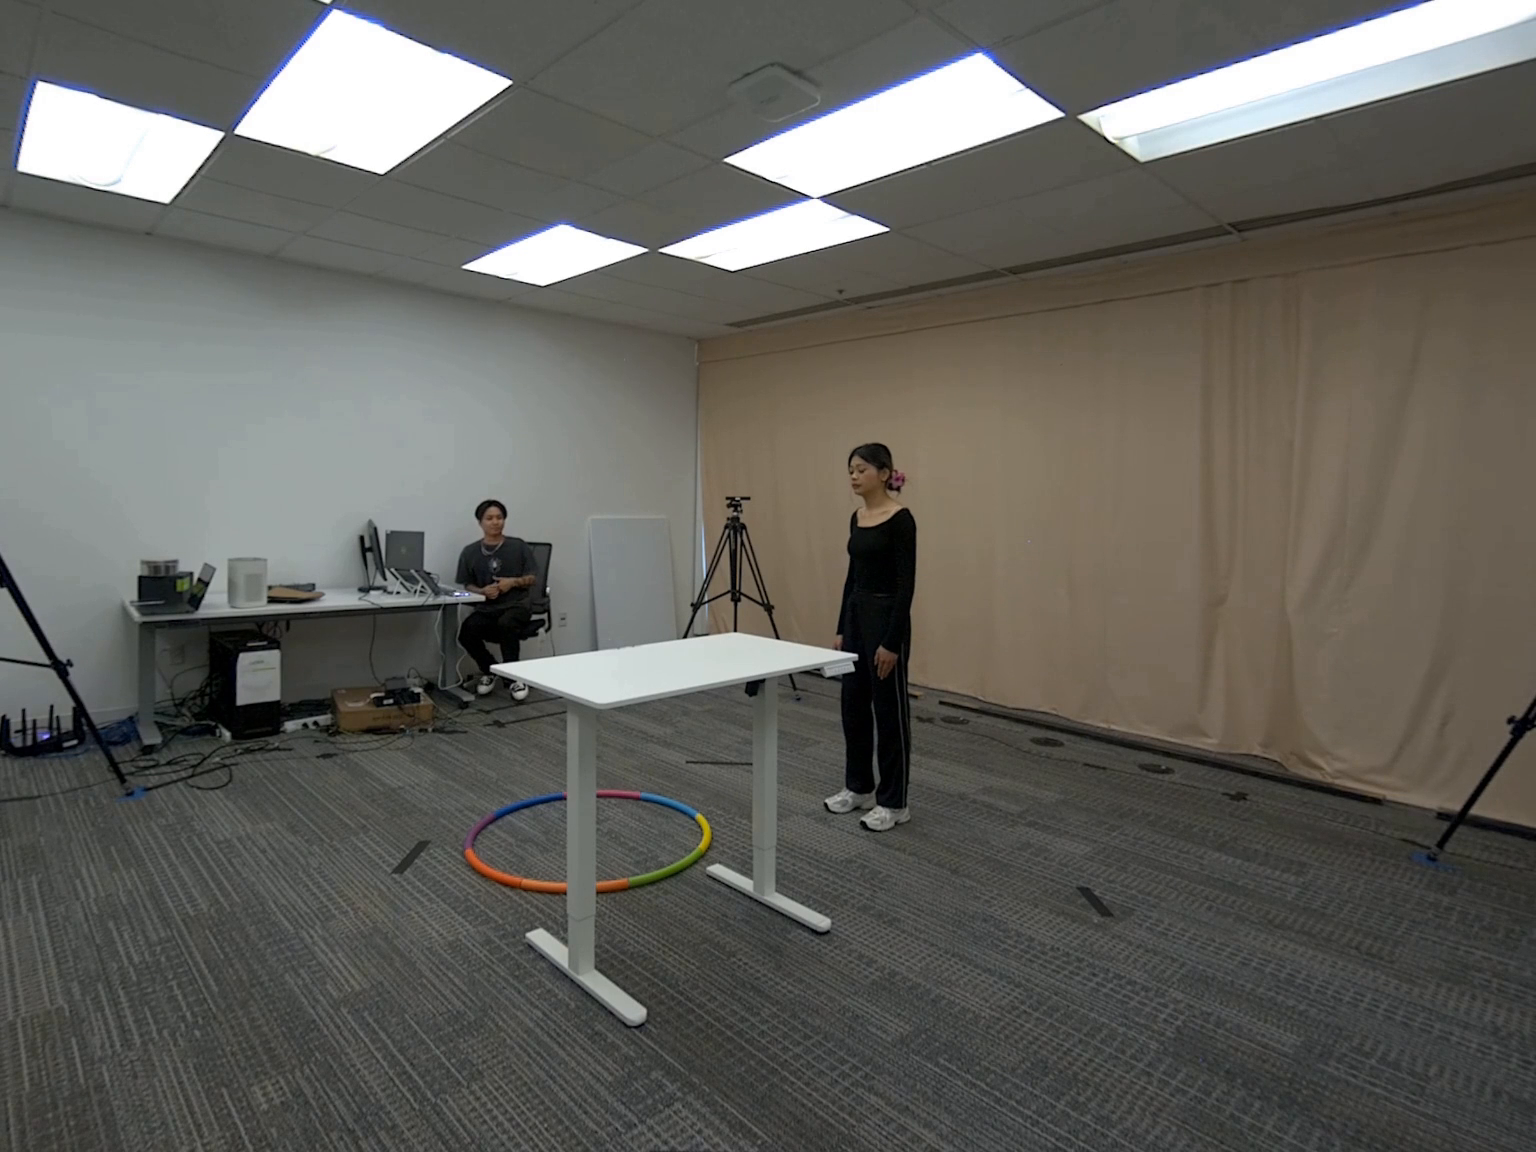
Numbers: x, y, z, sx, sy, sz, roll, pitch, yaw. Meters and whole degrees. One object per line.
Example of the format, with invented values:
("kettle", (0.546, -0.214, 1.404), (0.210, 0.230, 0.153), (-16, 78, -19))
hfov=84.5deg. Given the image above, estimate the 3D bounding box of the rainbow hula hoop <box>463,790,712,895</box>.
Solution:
("rainbow hula hoop", (-0.718, 1.036, 3.412), (0.978, 0.035, 0.982), (1, 5, -1))
